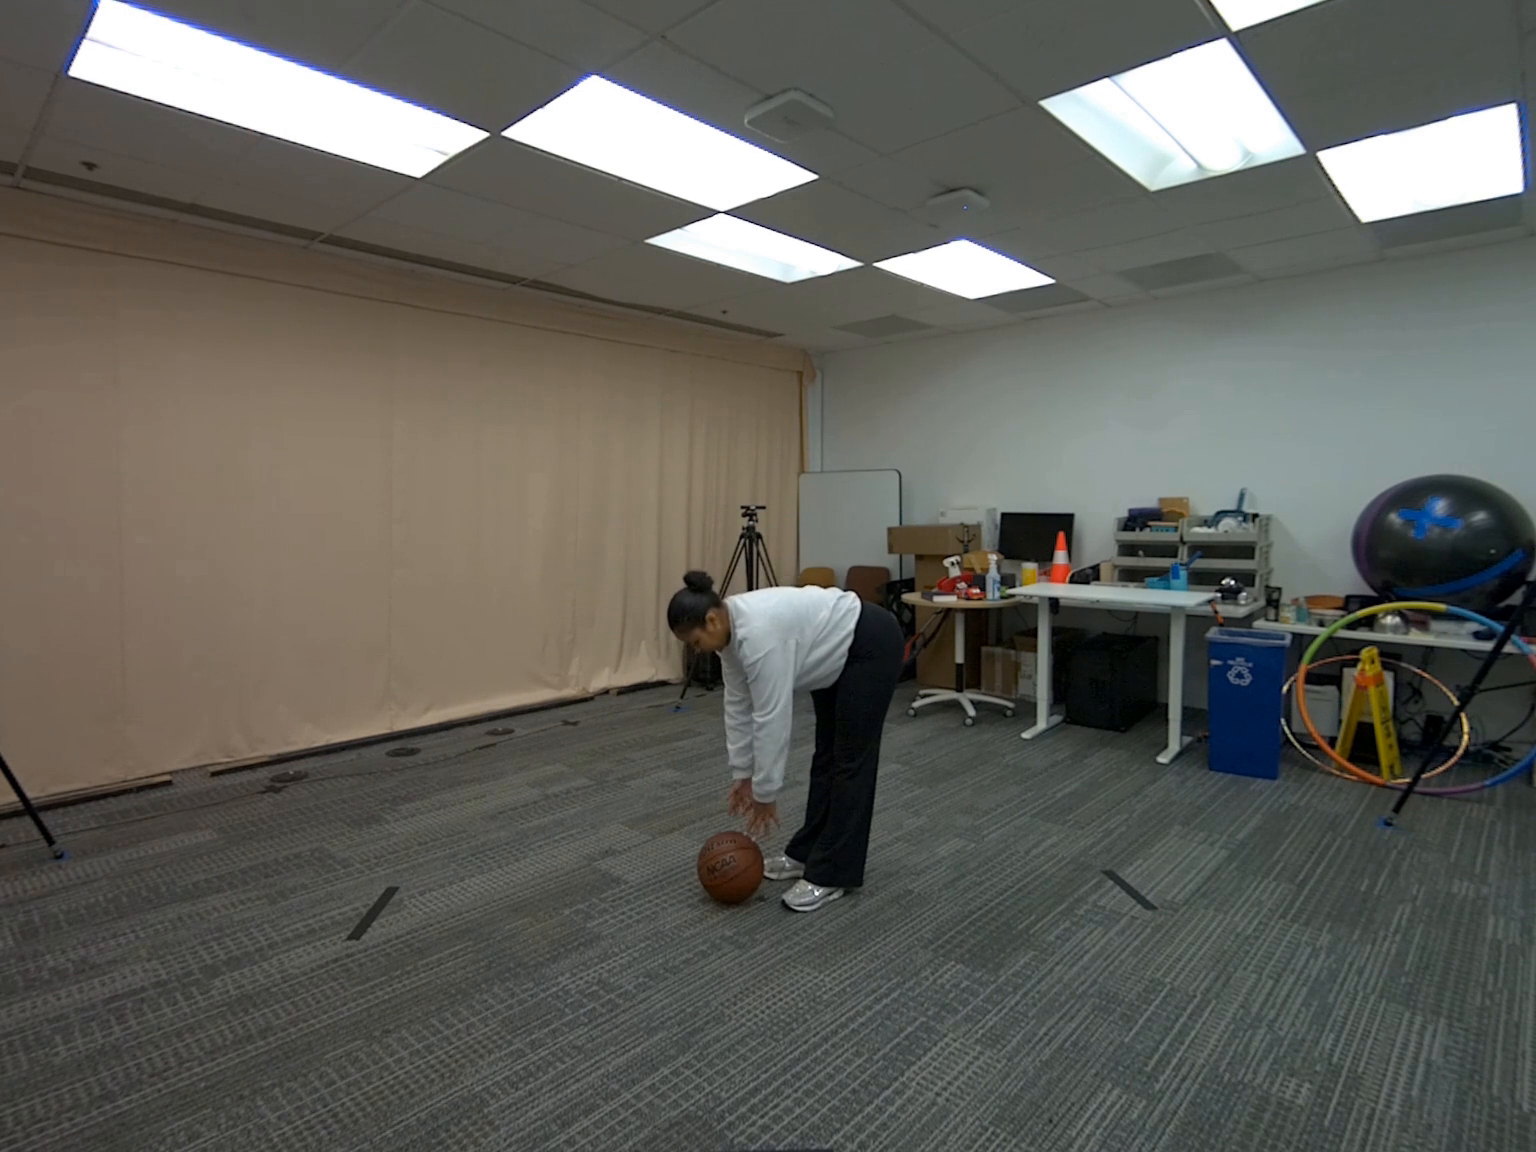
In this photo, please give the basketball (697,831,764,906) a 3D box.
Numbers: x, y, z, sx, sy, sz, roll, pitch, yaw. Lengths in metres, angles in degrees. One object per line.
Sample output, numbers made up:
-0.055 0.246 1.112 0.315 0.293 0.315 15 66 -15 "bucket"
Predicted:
-0.127 1.021 2.976 0.236 0.235 0.237 0 4 -2 "basketball"
